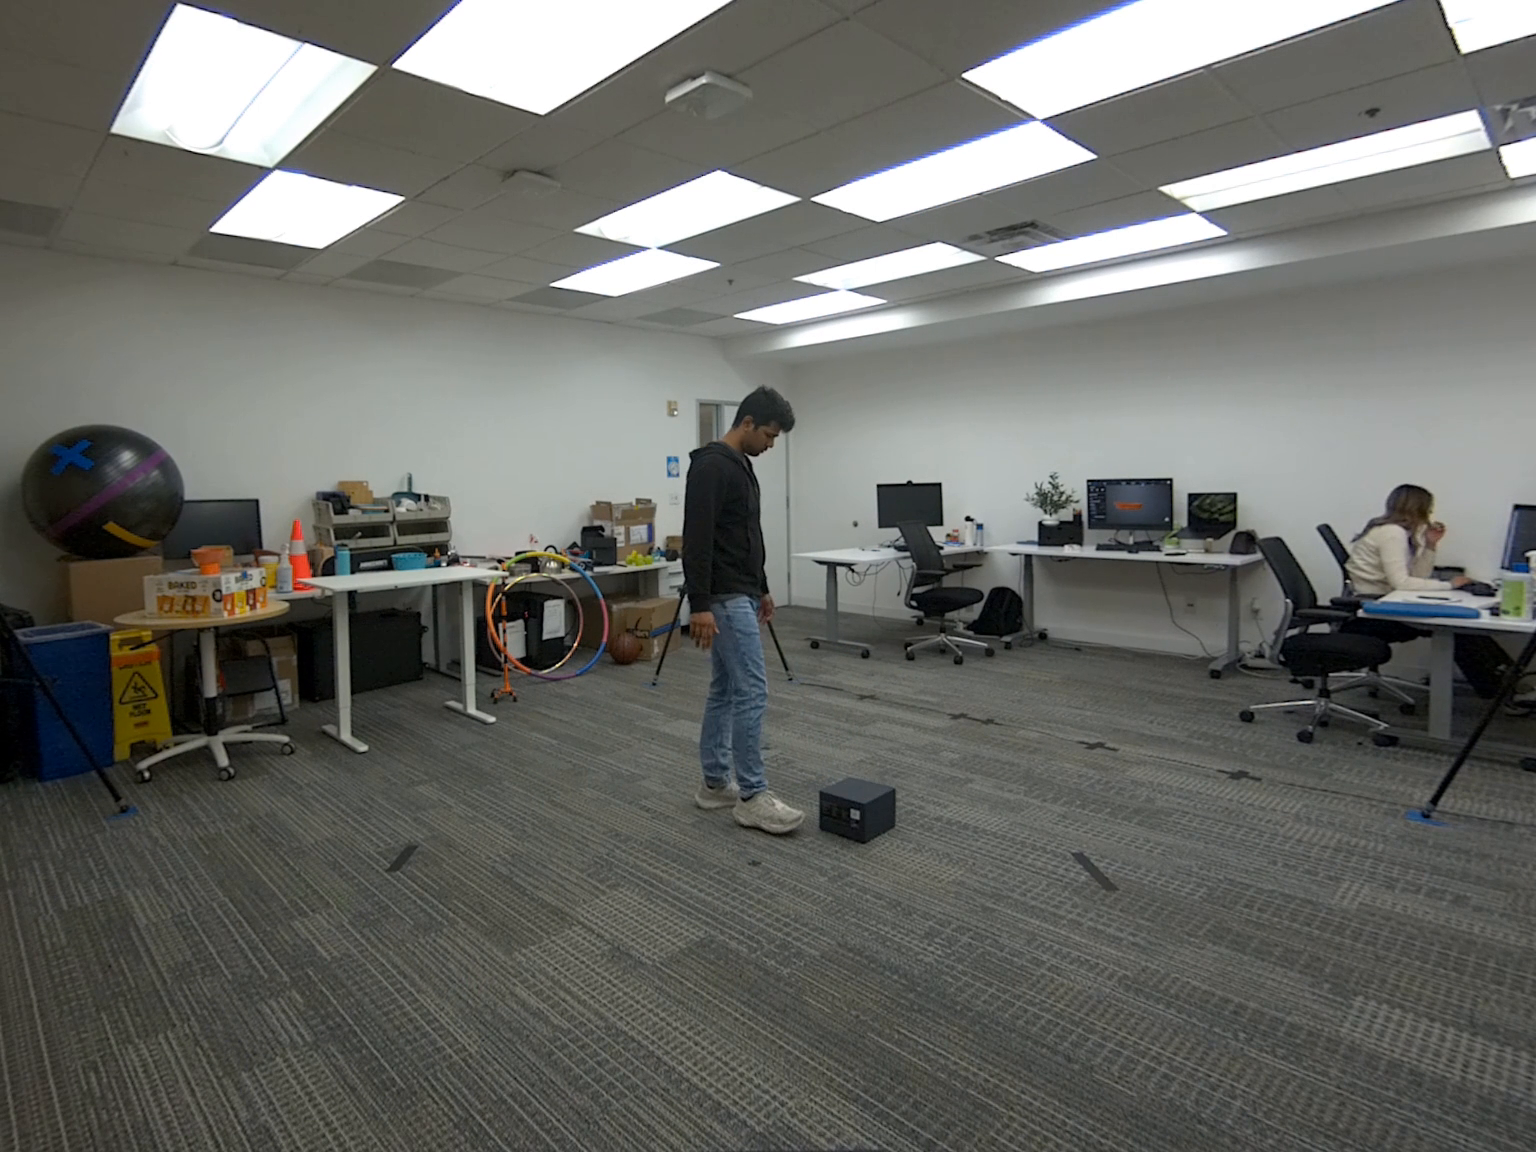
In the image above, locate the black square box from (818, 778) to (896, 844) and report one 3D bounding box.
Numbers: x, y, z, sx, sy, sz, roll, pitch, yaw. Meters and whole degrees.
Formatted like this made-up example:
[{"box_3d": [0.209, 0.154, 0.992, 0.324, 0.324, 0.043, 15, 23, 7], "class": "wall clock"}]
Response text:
[{"box_3d": [0.352, 0.920, 3.394, 0.223, 0.155, 0.222, 3, 7, 41], "class": "black square box"}]
